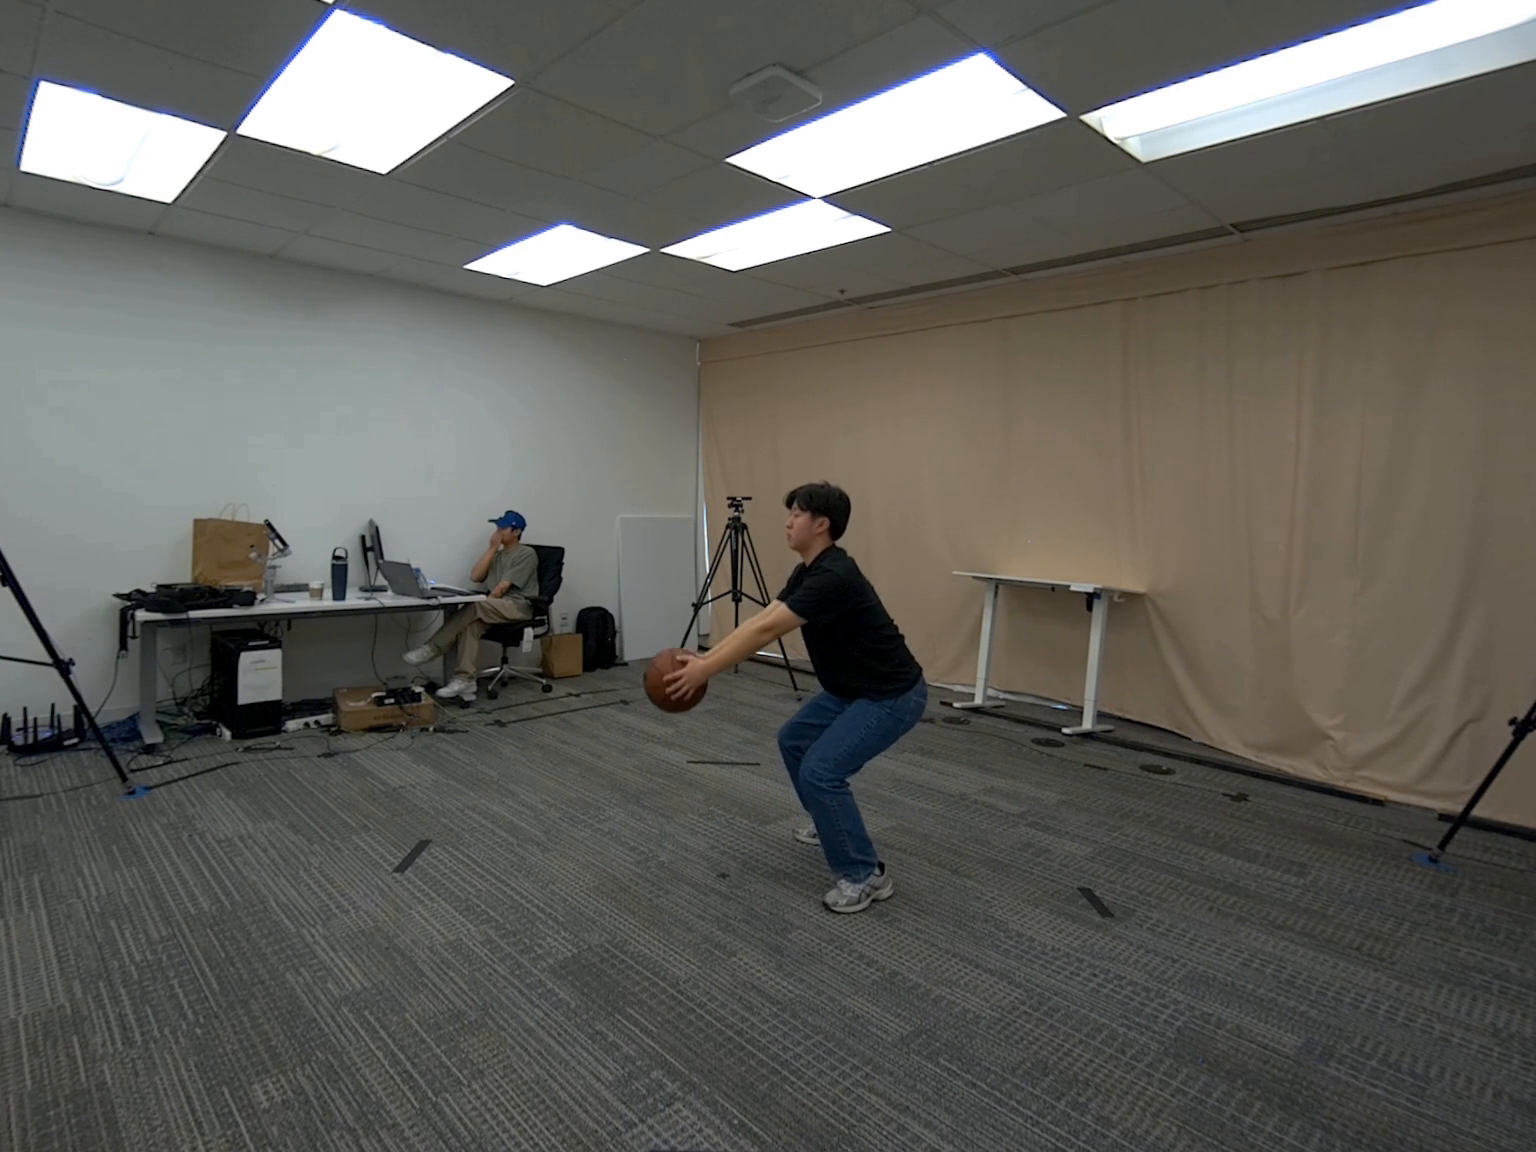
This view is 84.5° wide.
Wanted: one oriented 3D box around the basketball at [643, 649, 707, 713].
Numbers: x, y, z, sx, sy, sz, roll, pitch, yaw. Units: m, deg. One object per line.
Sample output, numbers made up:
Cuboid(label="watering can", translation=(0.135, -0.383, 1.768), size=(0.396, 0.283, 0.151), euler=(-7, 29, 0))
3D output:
Cuboid(label="basketball", translation=(-0.339, 0.389, 3.105), size=(0.236, 0.235, 0.237), euler=(1, 4, -1))
